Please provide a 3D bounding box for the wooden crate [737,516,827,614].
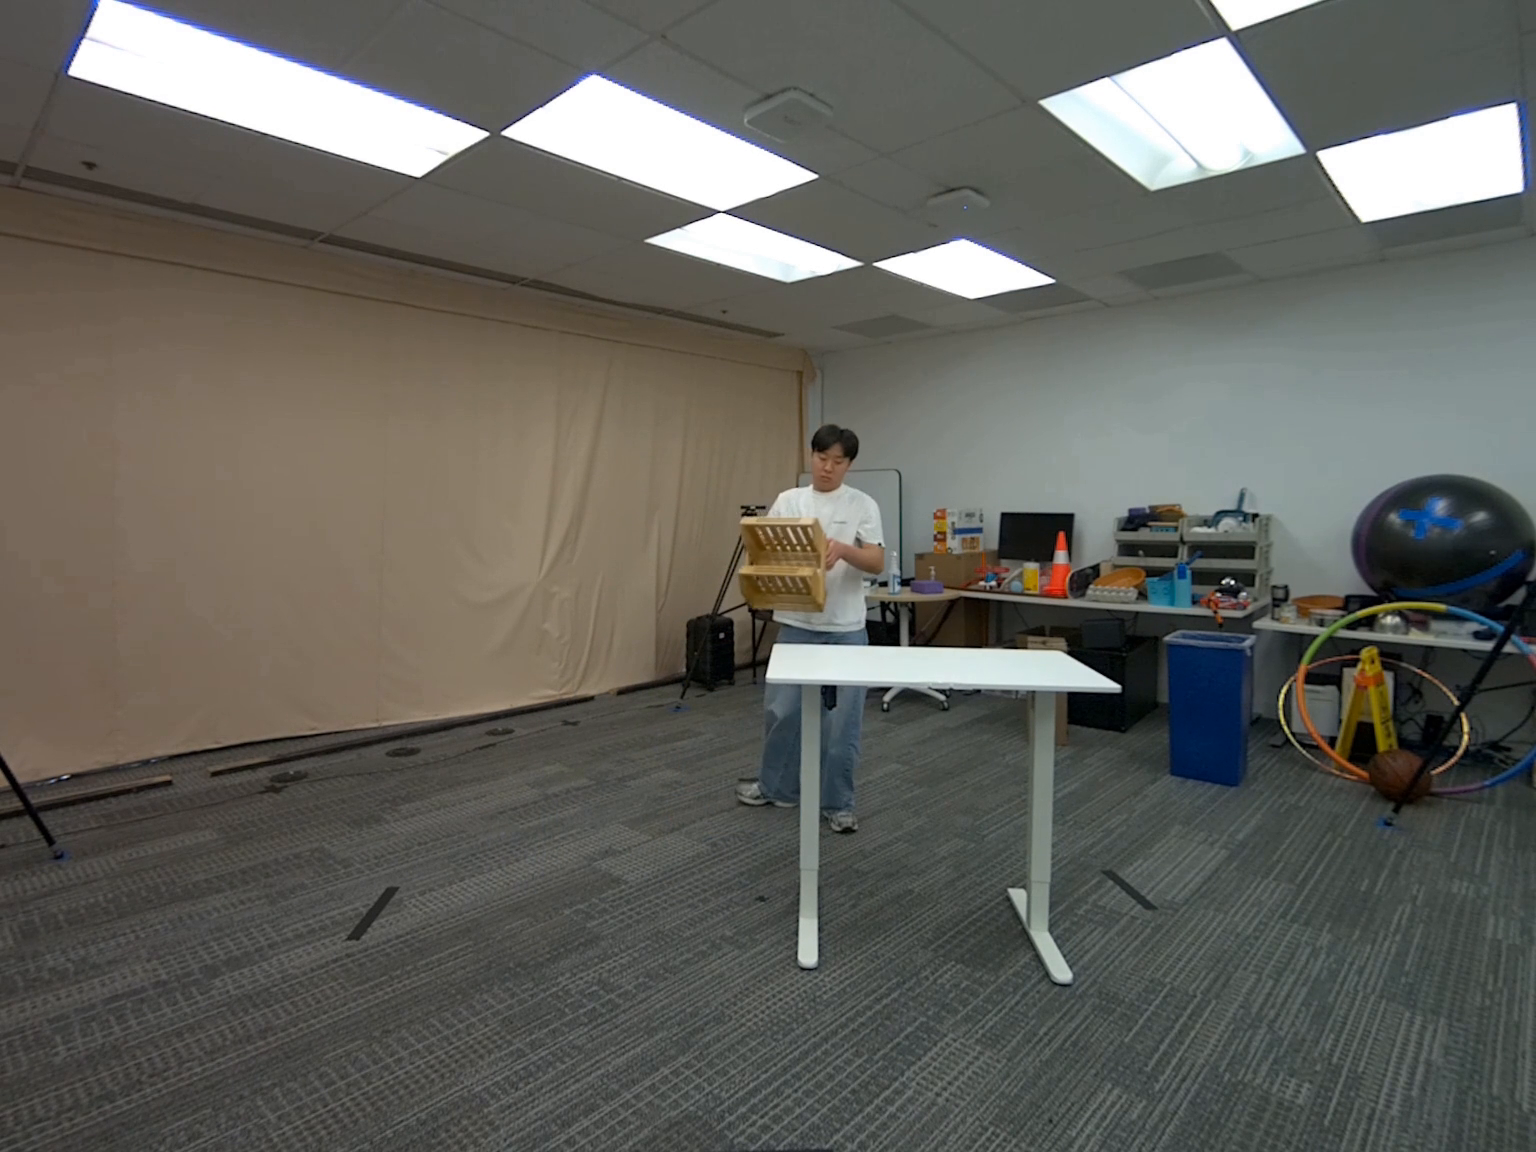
[{"bbox_3d":[0.055,-0.036,3.277,0.332,0.275,0.292,1,-29,24],"label":"wooden crate"}]
